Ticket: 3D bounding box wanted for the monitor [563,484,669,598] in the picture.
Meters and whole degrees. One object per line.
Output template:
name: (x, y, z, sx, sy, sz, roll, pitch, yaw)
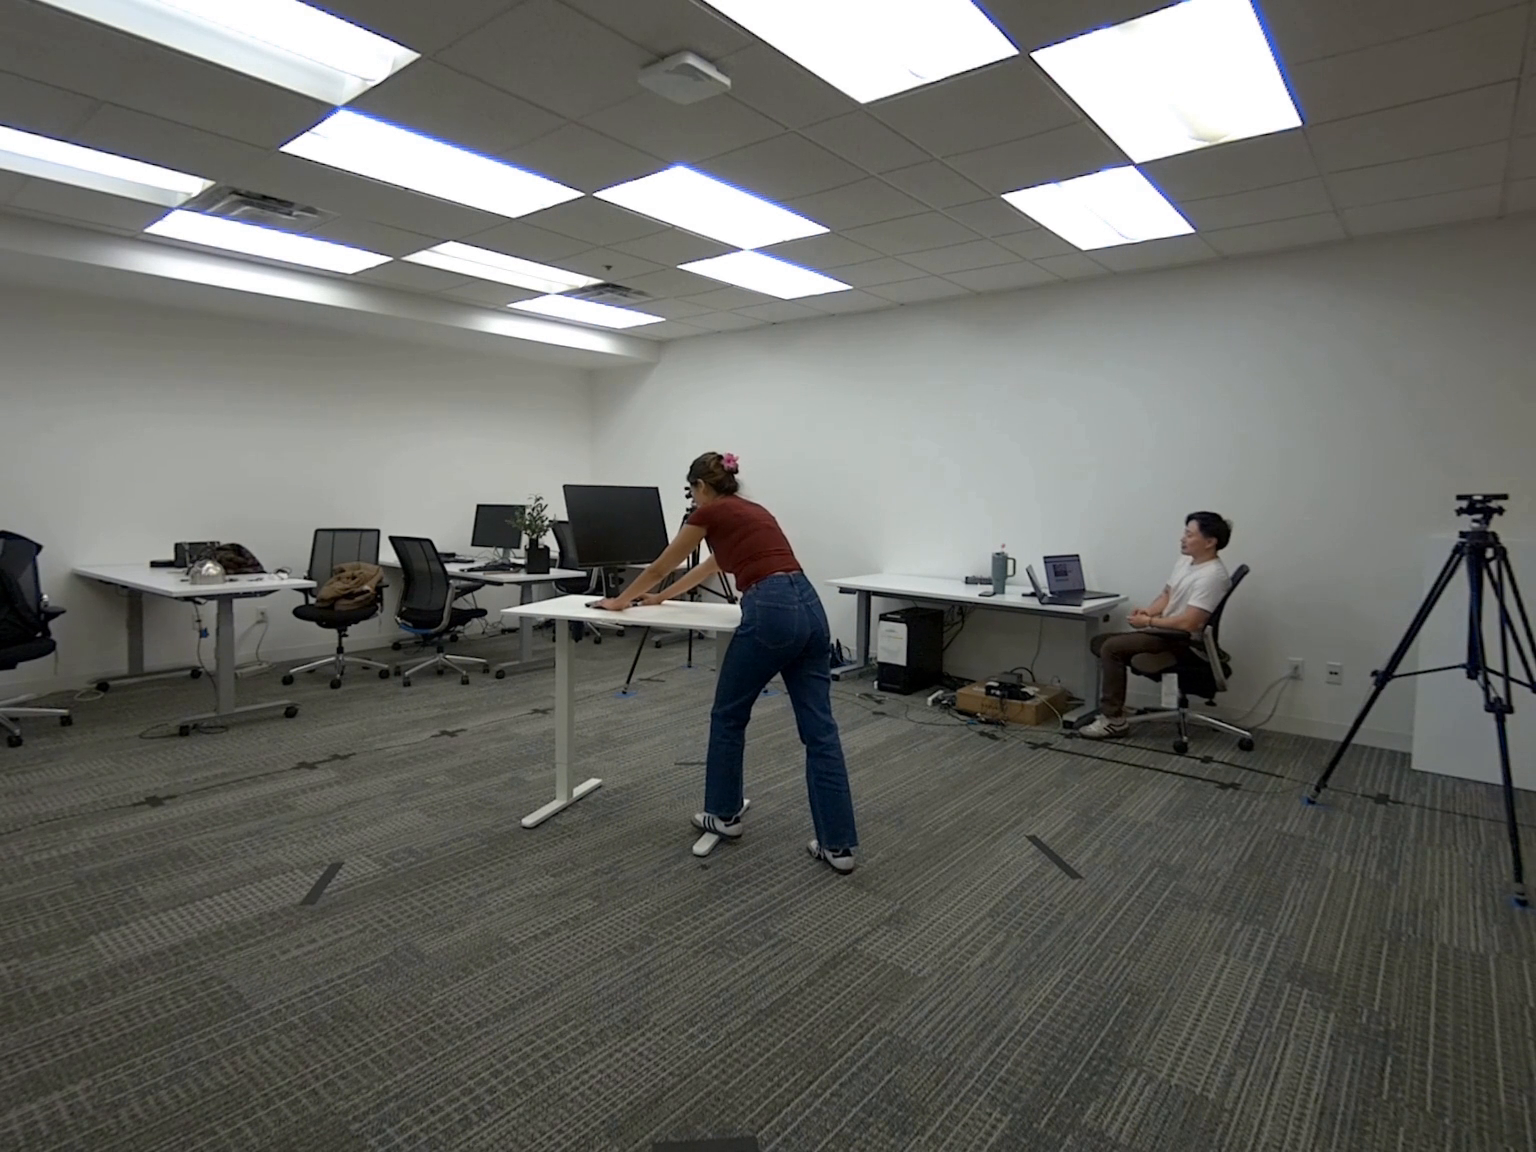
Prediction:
monitor: (-0.665, -0.130, 3.657, 0.193, 0.522, 0.524, 0, 2, 34)
